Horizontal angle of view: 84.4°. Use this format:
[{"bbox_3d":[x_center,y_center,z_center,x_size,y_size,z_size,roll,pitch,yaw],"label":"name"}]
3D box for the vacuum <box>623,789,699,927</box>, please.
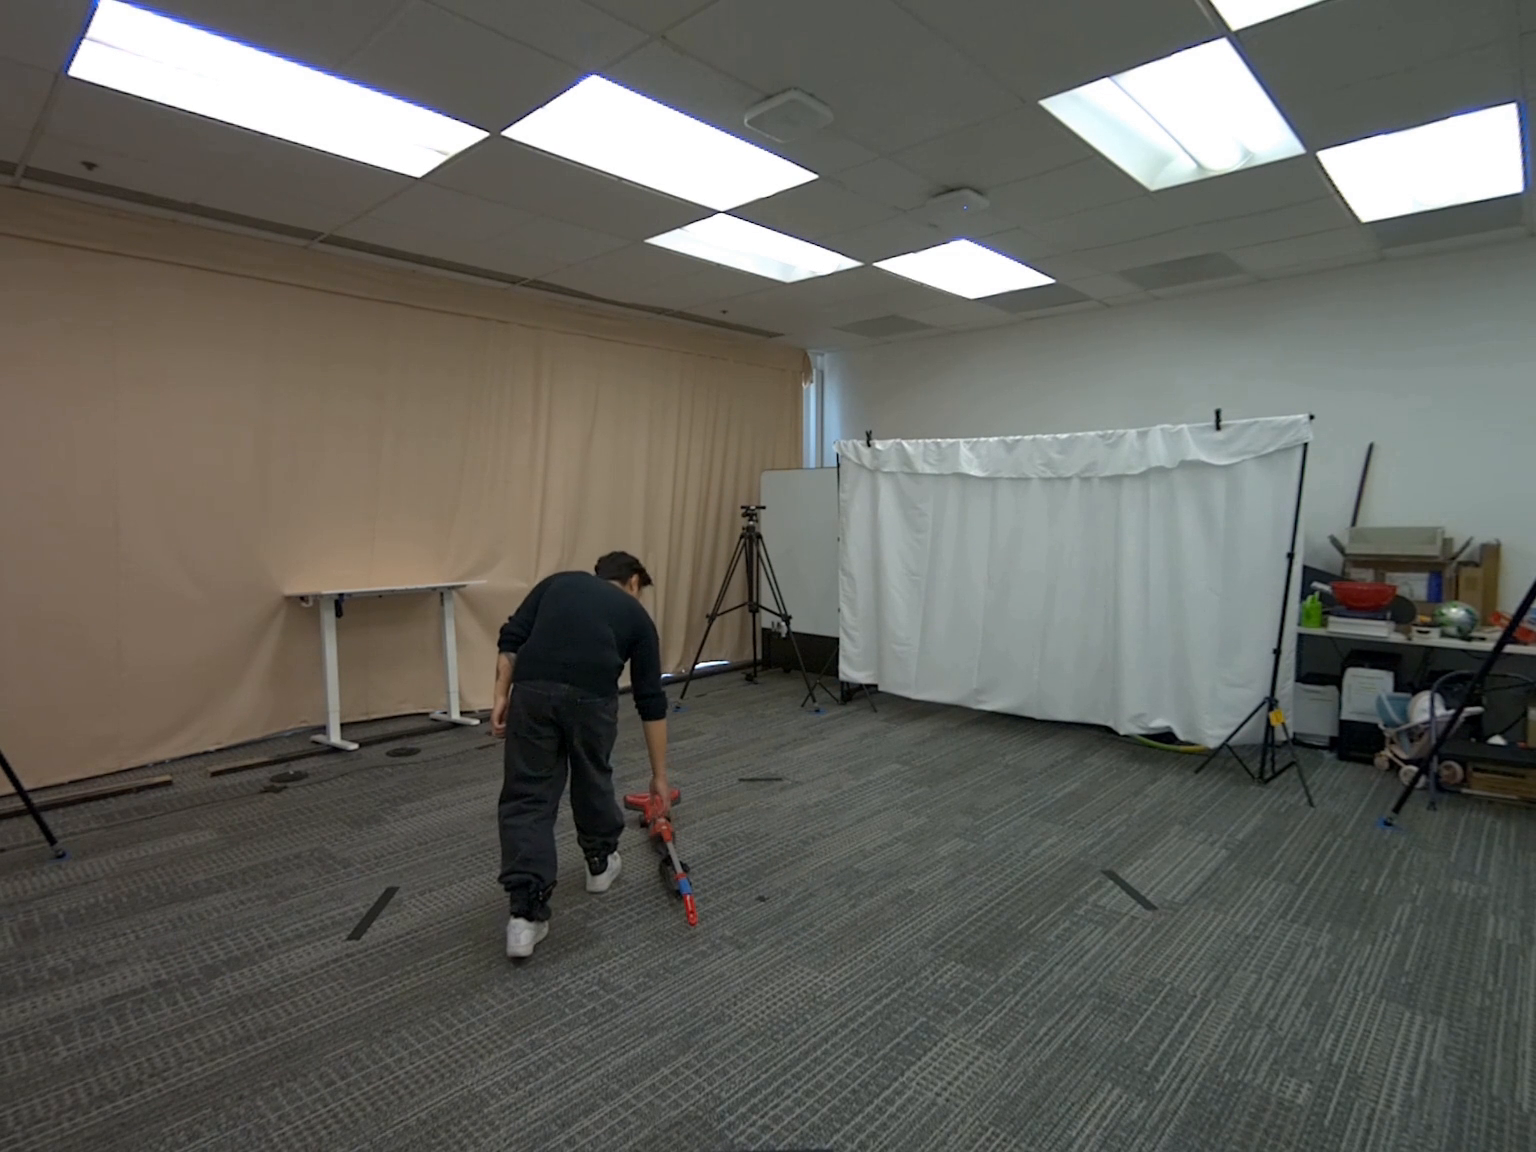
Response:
[{"bbox_3d":[-0.370,1.064,3.206,0.249,0.143,1.068,-9,8,-14],"label":"vacuum"}]
